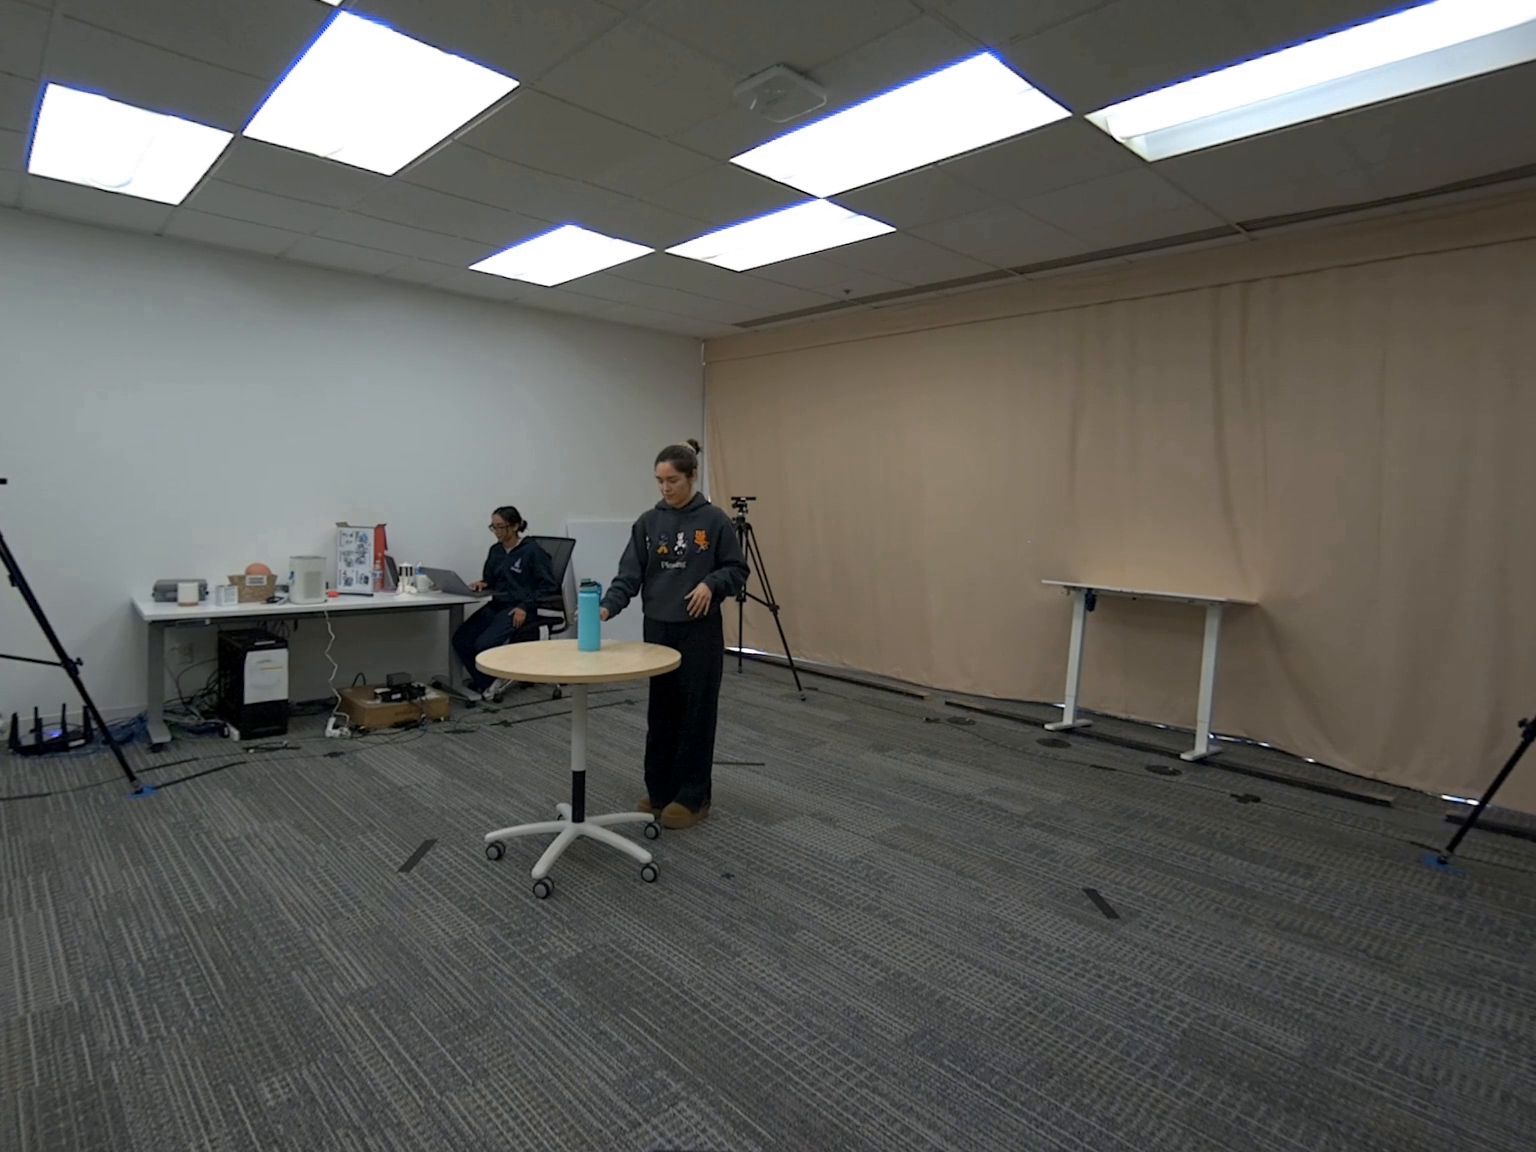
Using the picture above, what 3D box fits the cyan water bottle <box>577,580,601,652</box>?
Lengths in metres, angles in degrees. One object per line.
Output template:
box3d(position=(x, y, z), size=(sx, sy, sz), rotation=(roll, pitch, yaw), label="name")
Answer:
box3d(position=(-0.723, 0.152, 3.333), size=(0.092, 0.283, 0.092), rotation=(1, 1, -1), label="cyan water bottle")
